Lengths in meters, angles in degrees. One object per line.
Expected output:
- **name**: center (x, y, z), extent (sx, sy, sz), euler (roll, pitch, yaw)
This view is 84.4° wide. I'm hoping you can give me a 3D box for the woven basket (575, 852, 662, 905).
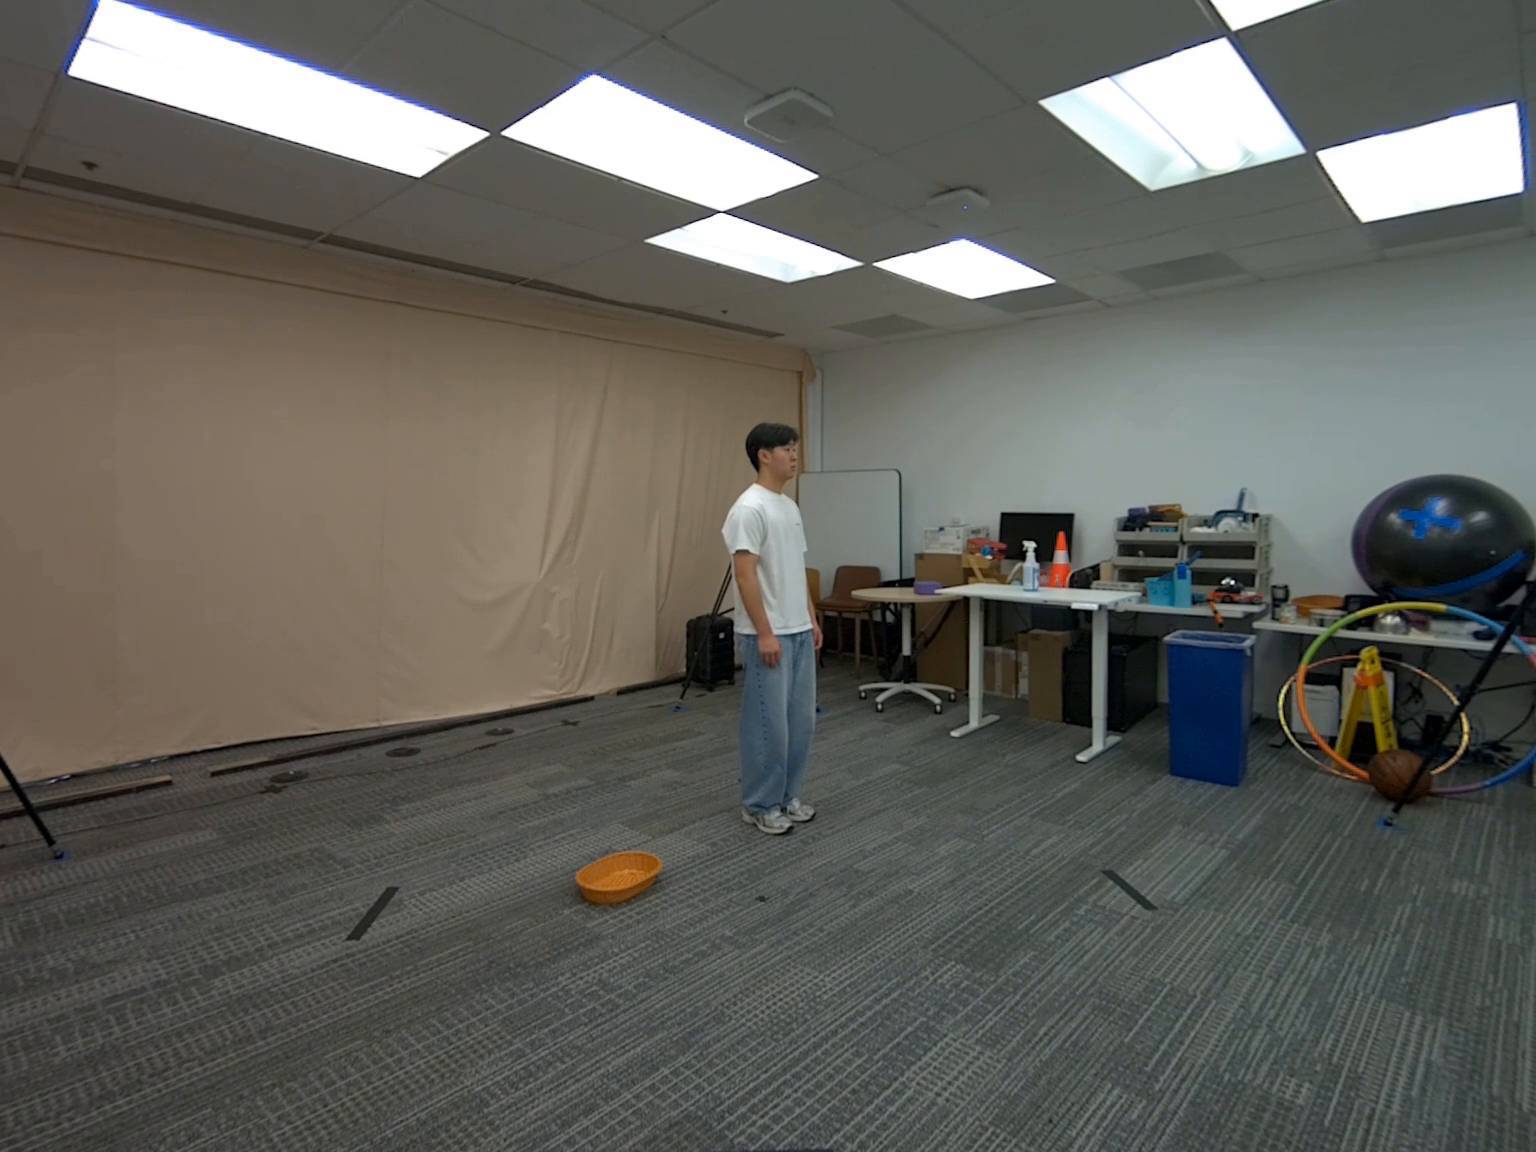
- **woven basket**: center (-0.537, 1.102, 3.067), extent (0.260, 0.073, 0.340), euler (3, 6, 37)
